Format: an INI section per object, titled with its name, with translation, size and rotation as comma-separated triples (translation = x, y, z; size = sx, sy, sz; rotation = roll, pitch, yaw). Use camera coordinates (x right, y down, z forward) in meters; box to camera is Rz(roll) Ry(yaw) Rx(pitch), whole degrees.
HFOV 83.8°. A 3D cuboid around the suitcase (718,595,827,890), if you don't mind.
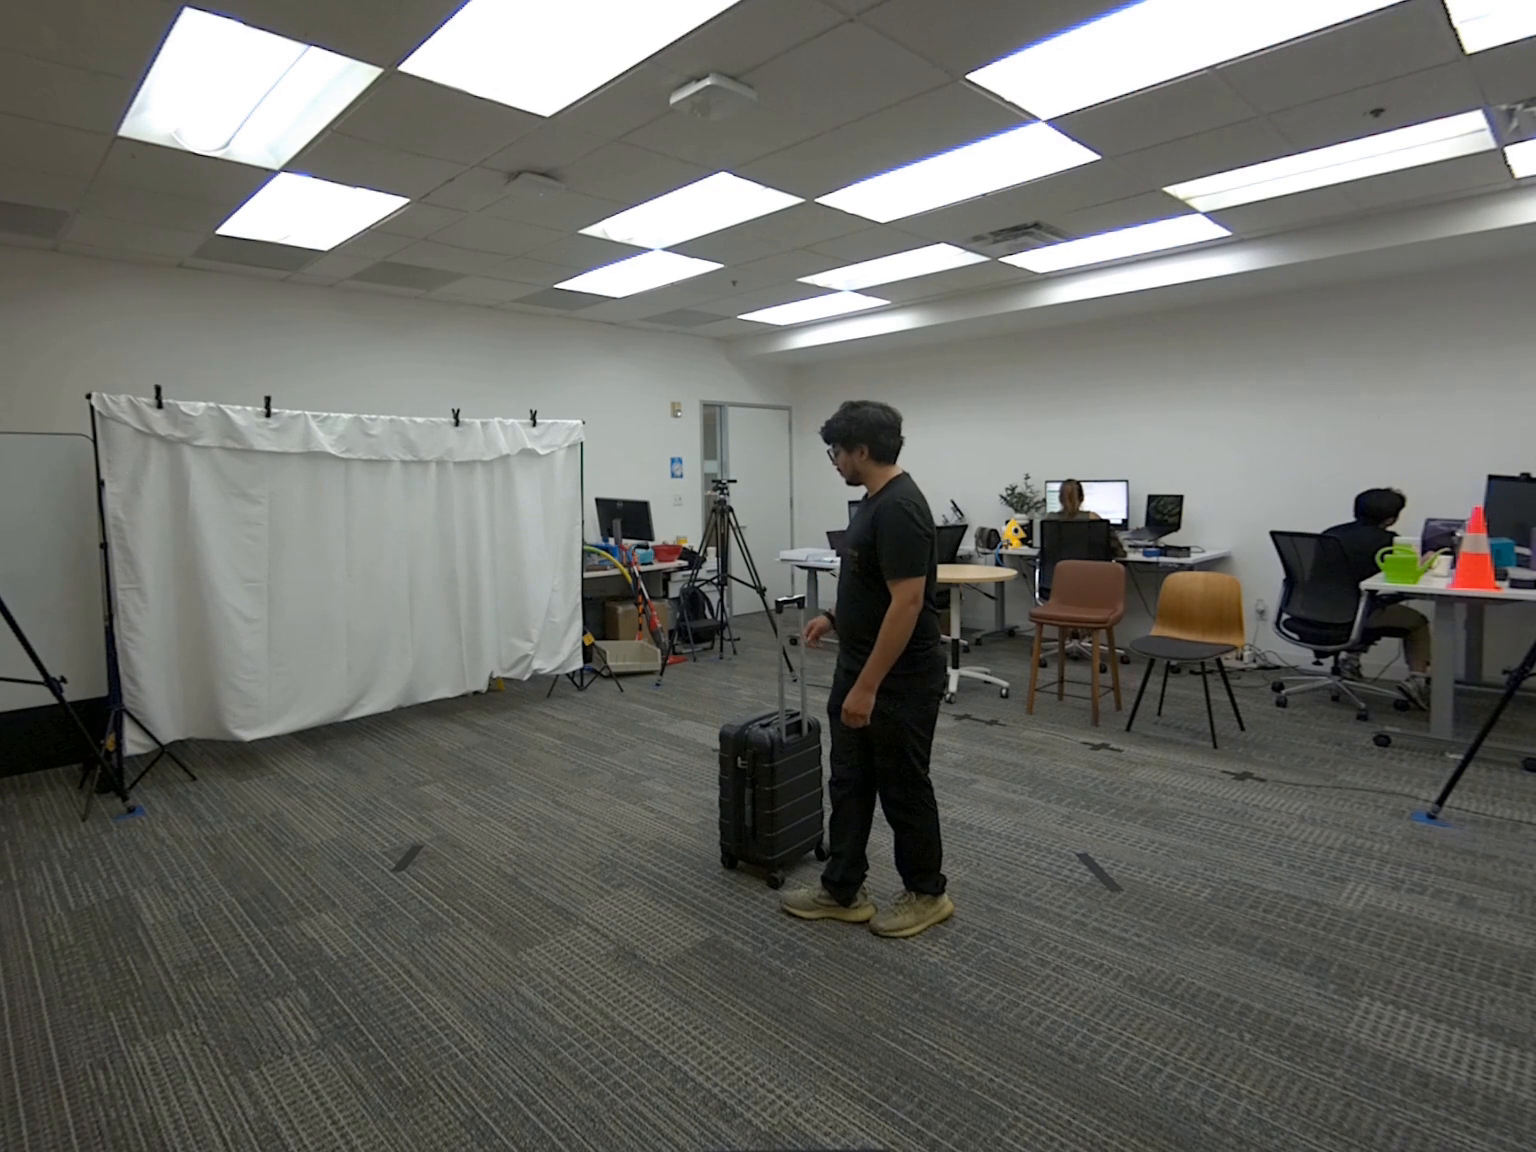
[suitcase]
translation = 0.008, 0.572, 3.093
size = 0.264, 0.976, 0.374
rotation = 0, 3, 42
